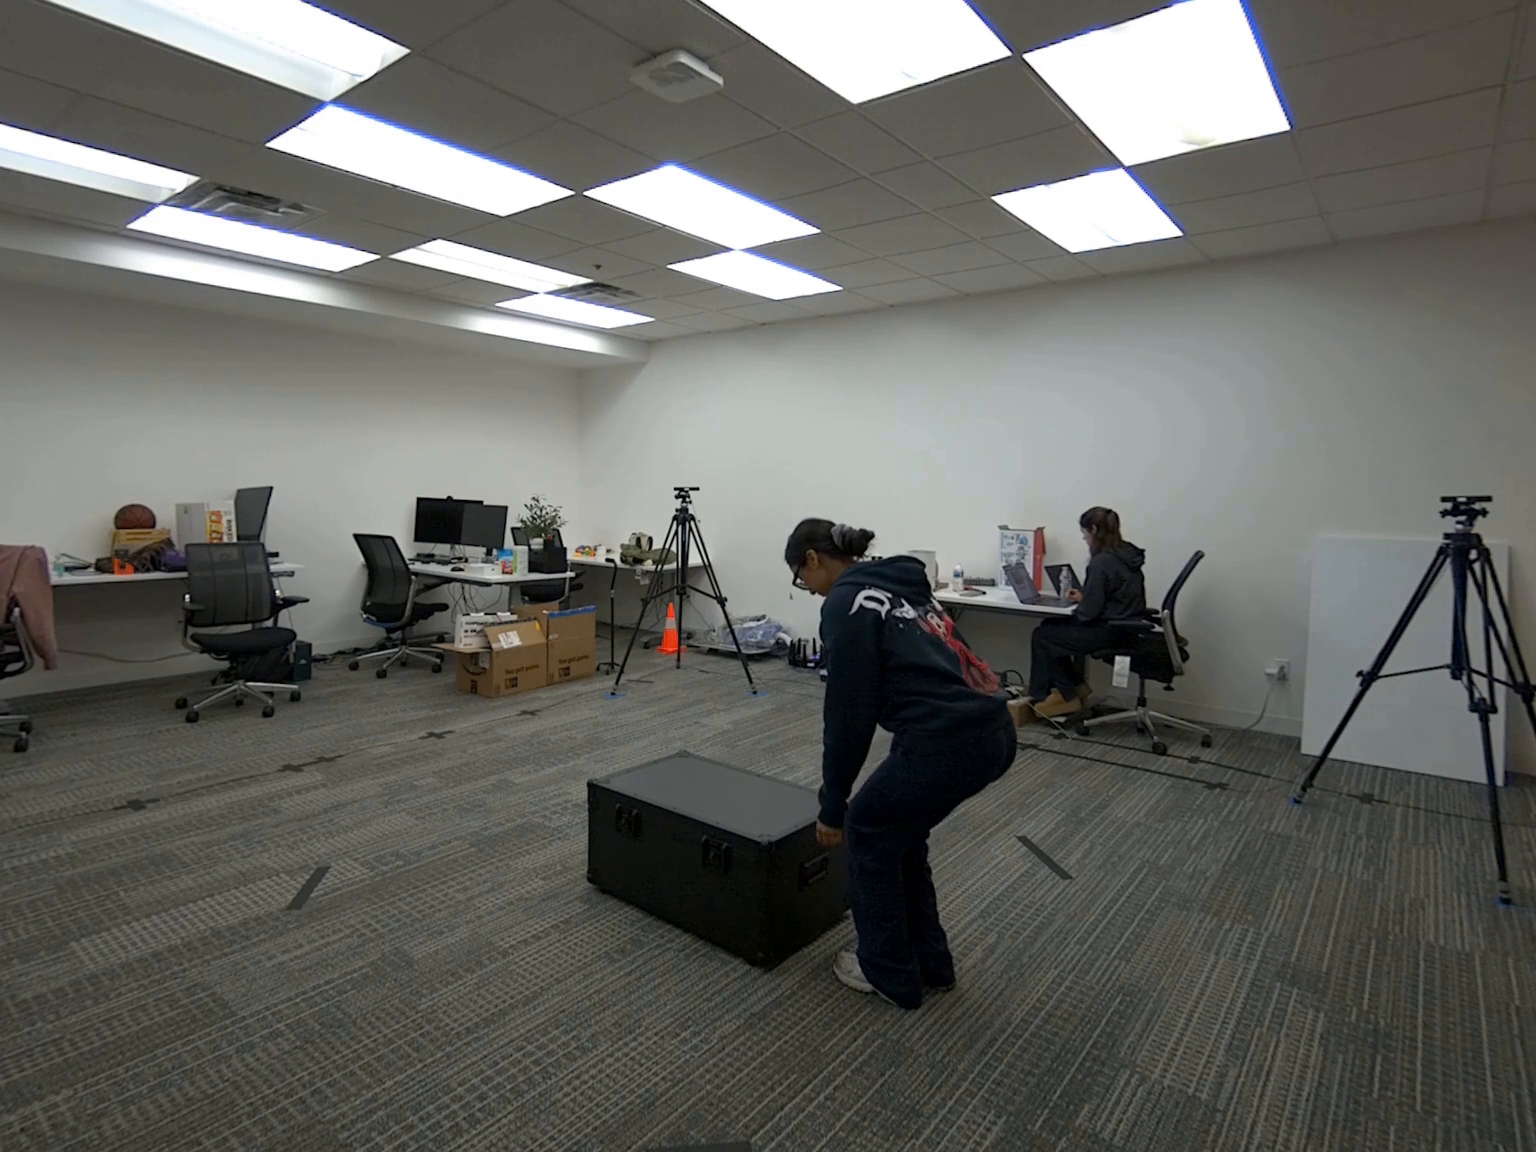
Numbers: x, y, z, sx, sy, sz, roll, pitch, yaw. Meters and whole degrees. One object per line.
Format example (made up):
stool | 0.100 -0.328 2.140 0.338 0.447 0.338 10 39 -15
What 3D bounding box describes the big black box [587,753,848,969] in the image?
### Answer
big black box | -0.202 0.900 2.882 0.891 0.395 0.506 6 6 38
